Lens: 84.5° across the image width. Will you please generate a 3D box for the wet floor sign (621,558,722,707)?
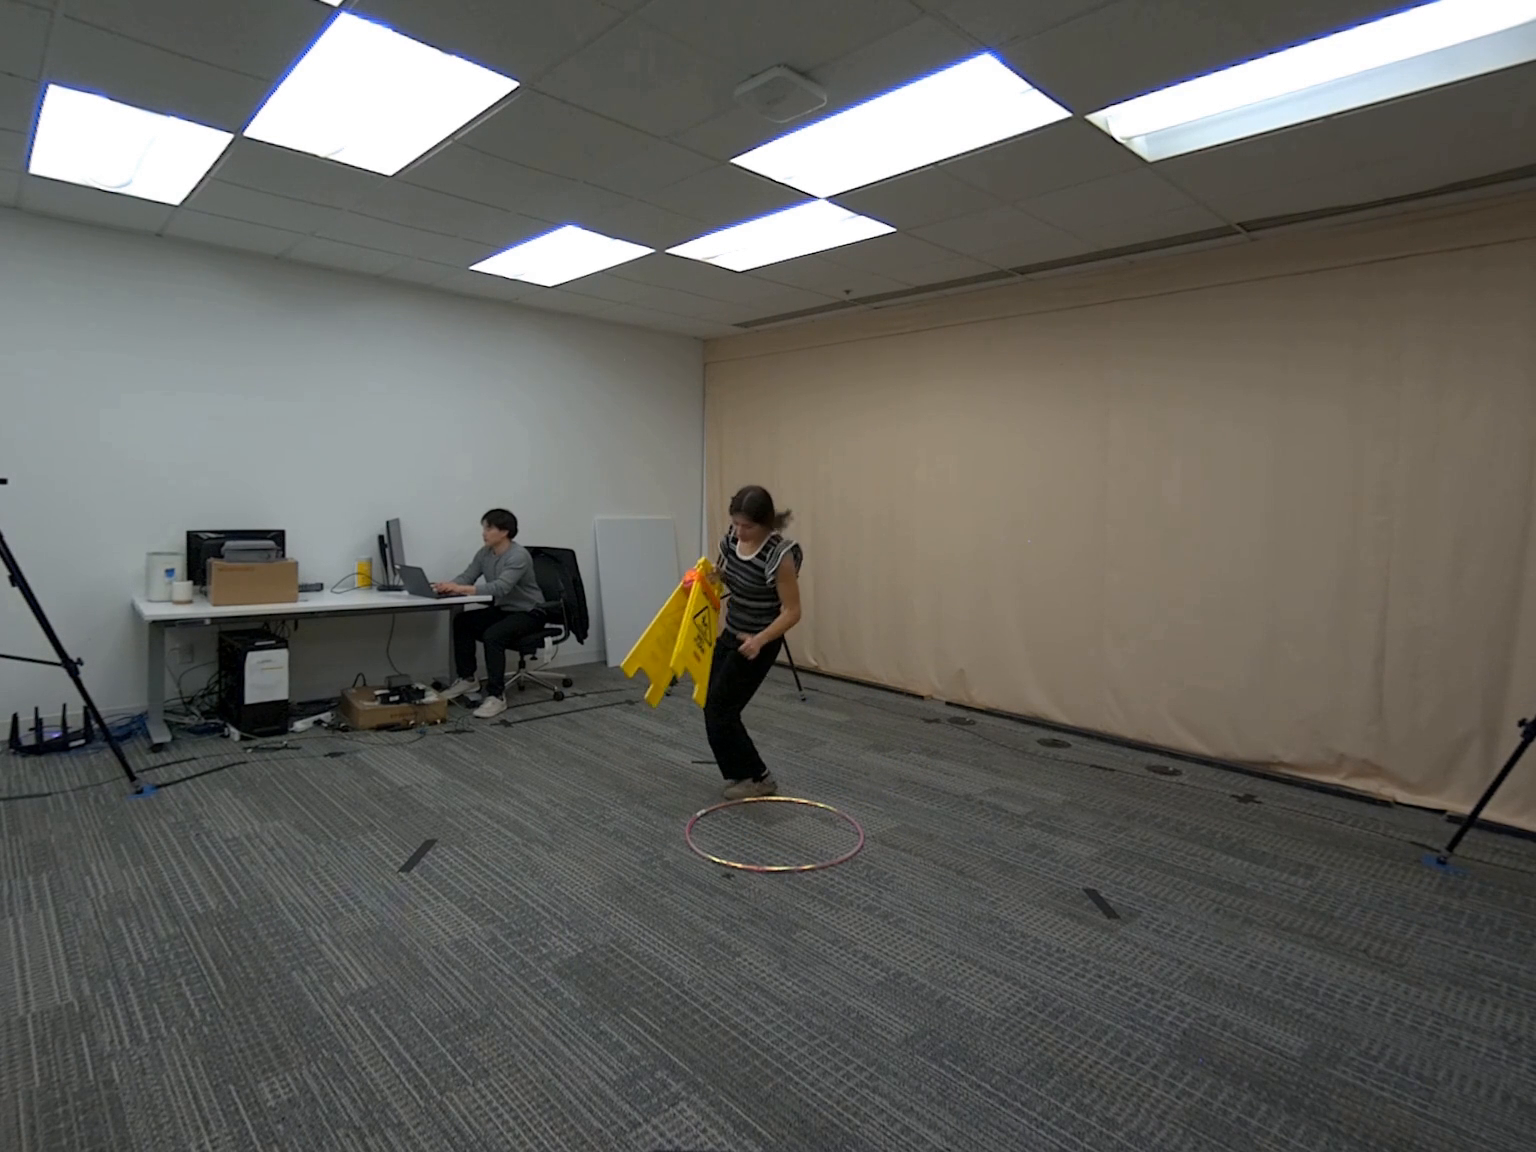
[{"bbox_3d":[-0.323,0.212,3.571,0.295,0.653,0.274,-4,-45,29],"label":"wet floor sign"}]
